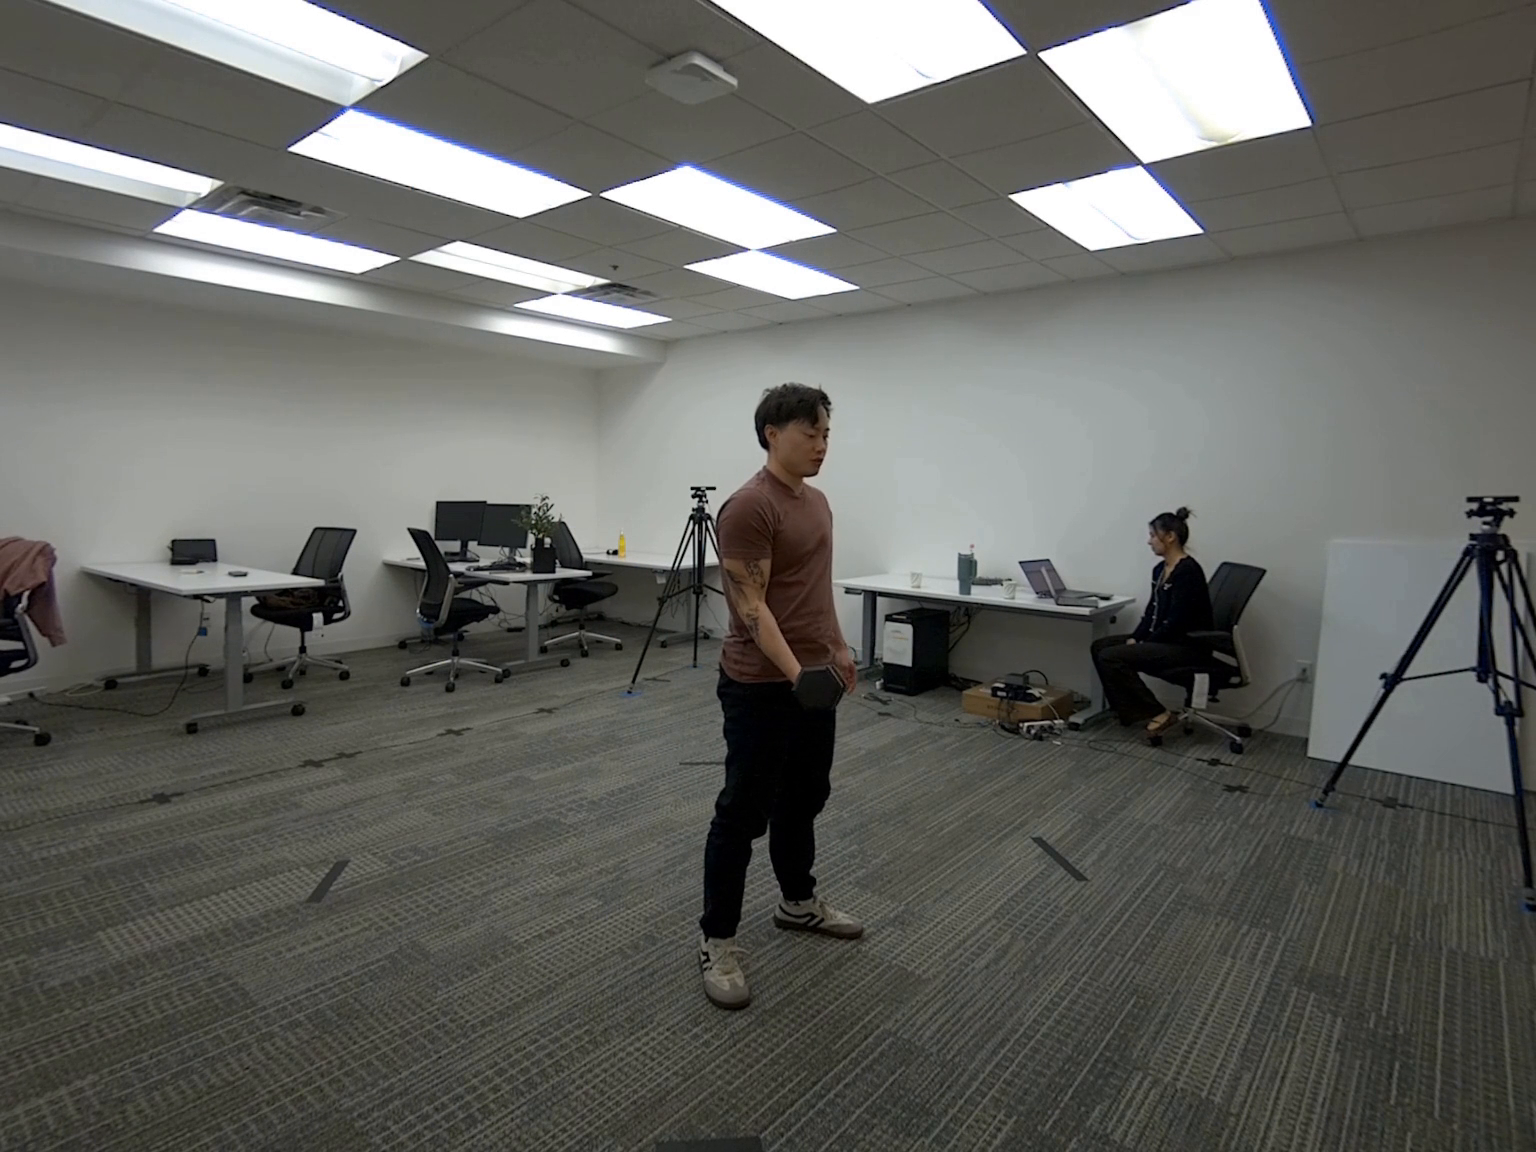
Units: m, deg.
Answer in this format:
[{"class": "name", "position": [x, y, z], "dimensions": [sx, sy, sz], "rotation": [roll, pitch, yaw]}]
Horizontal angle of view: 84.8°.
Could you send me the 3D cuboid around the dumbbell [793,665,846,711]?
[{"class": "dumbbell", "position": [0.135, 0.264, 2.159], "dimensions": [0.124, 0.110, 0.289], "rotation": [-6, -6, 5]}]
